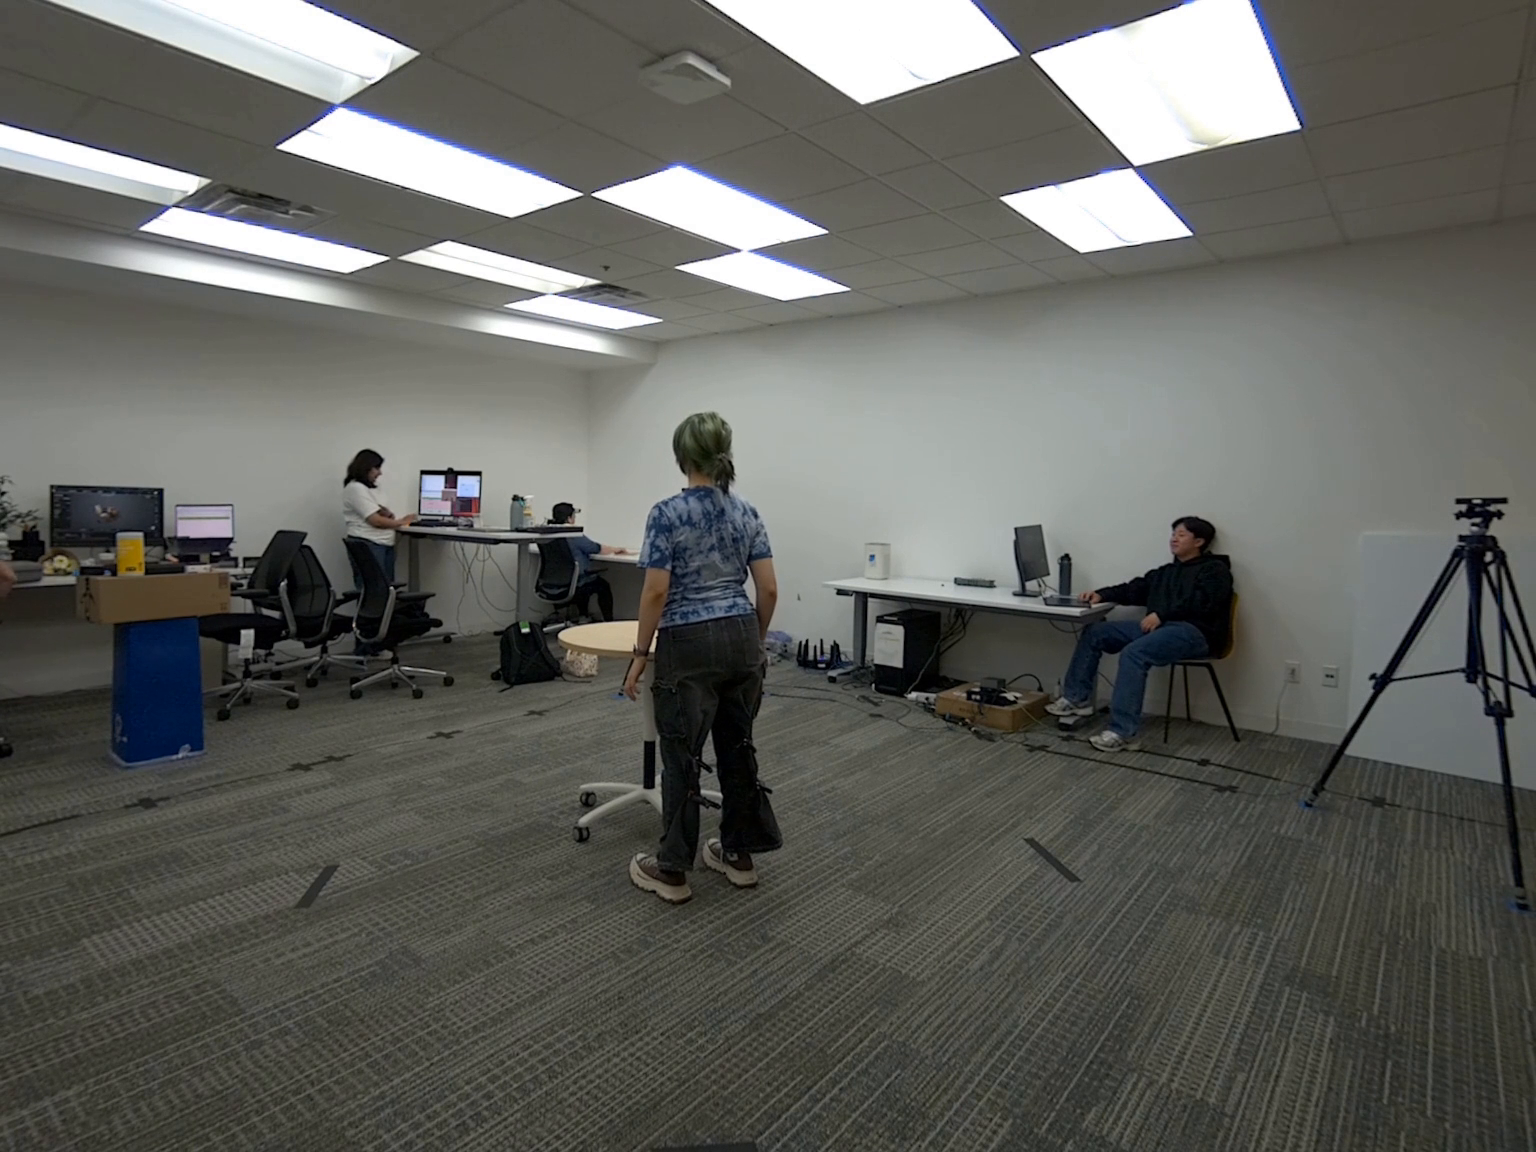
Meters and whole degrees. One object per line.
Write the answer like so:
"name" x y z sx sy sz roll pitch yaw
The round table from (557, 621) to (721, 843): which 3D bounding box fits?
"round table" -0.502 0.635 3.547 0.763 0.792 0.767 1 4 -2
